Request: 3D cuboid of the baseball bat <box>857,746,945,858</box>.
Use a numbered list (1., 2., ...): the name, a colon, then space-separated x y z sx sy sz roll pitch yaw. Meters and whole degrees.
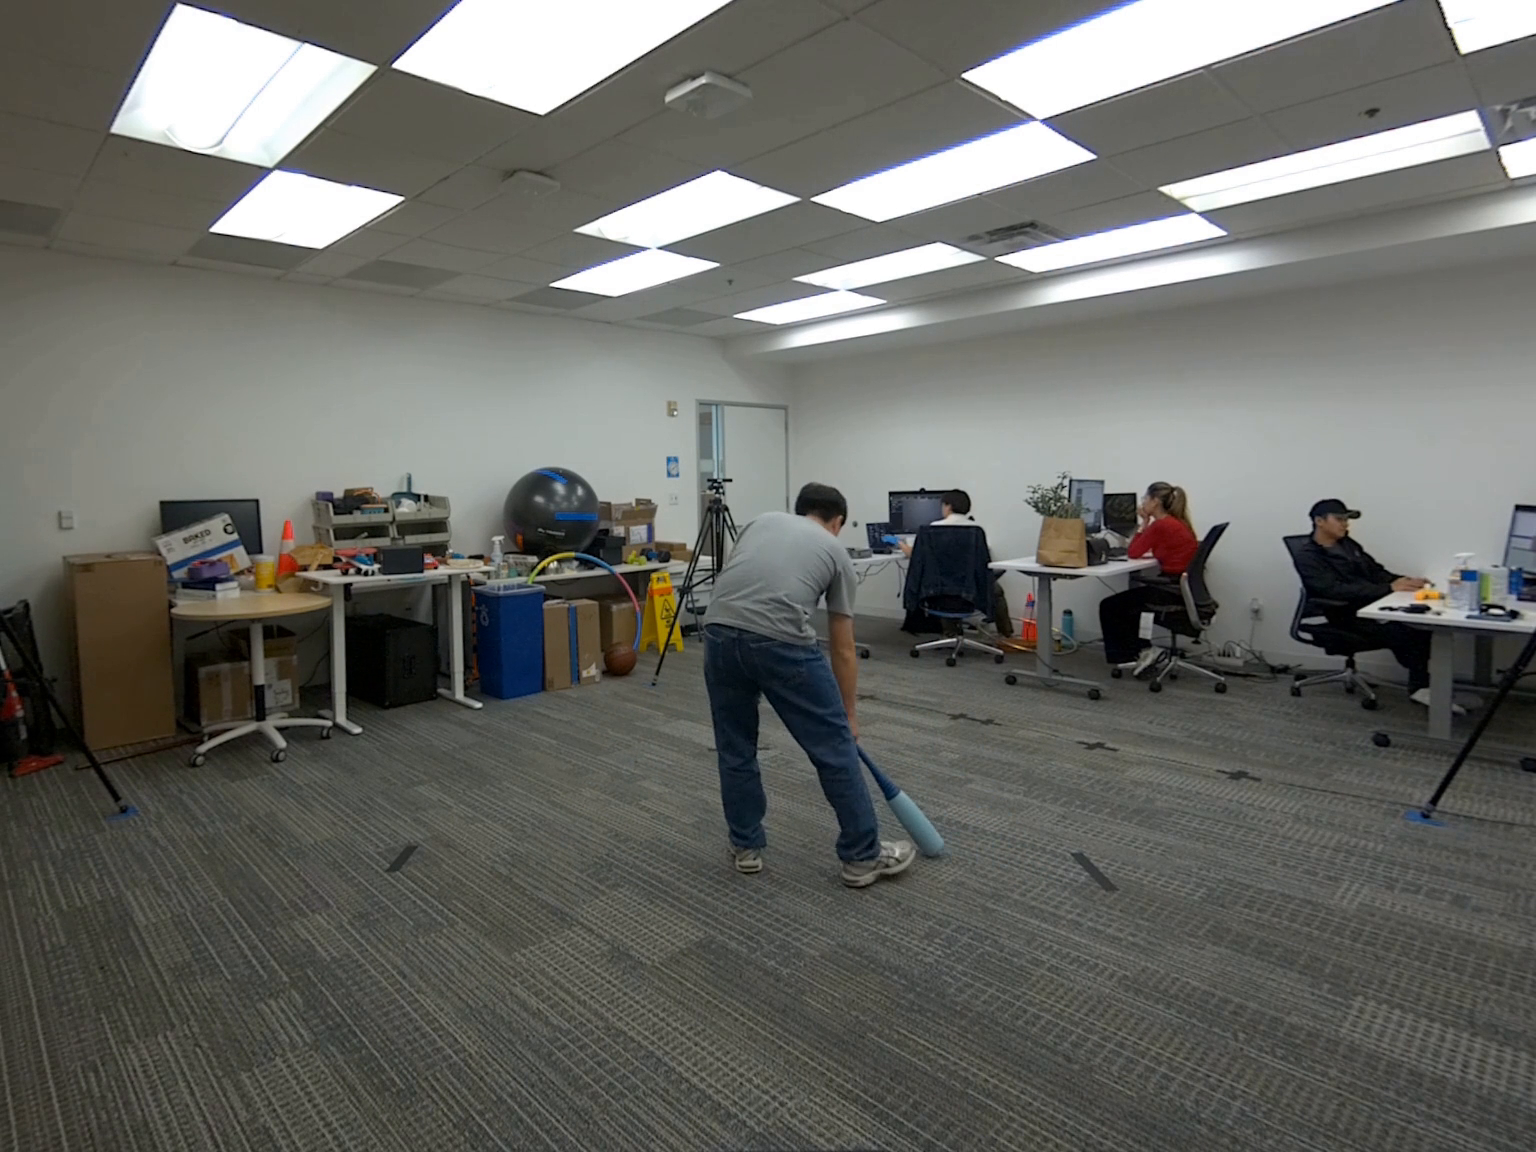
1. baseball bat: 0.455 0.798 3.175 0.089 0.549 0.088 -37 -9 -7
